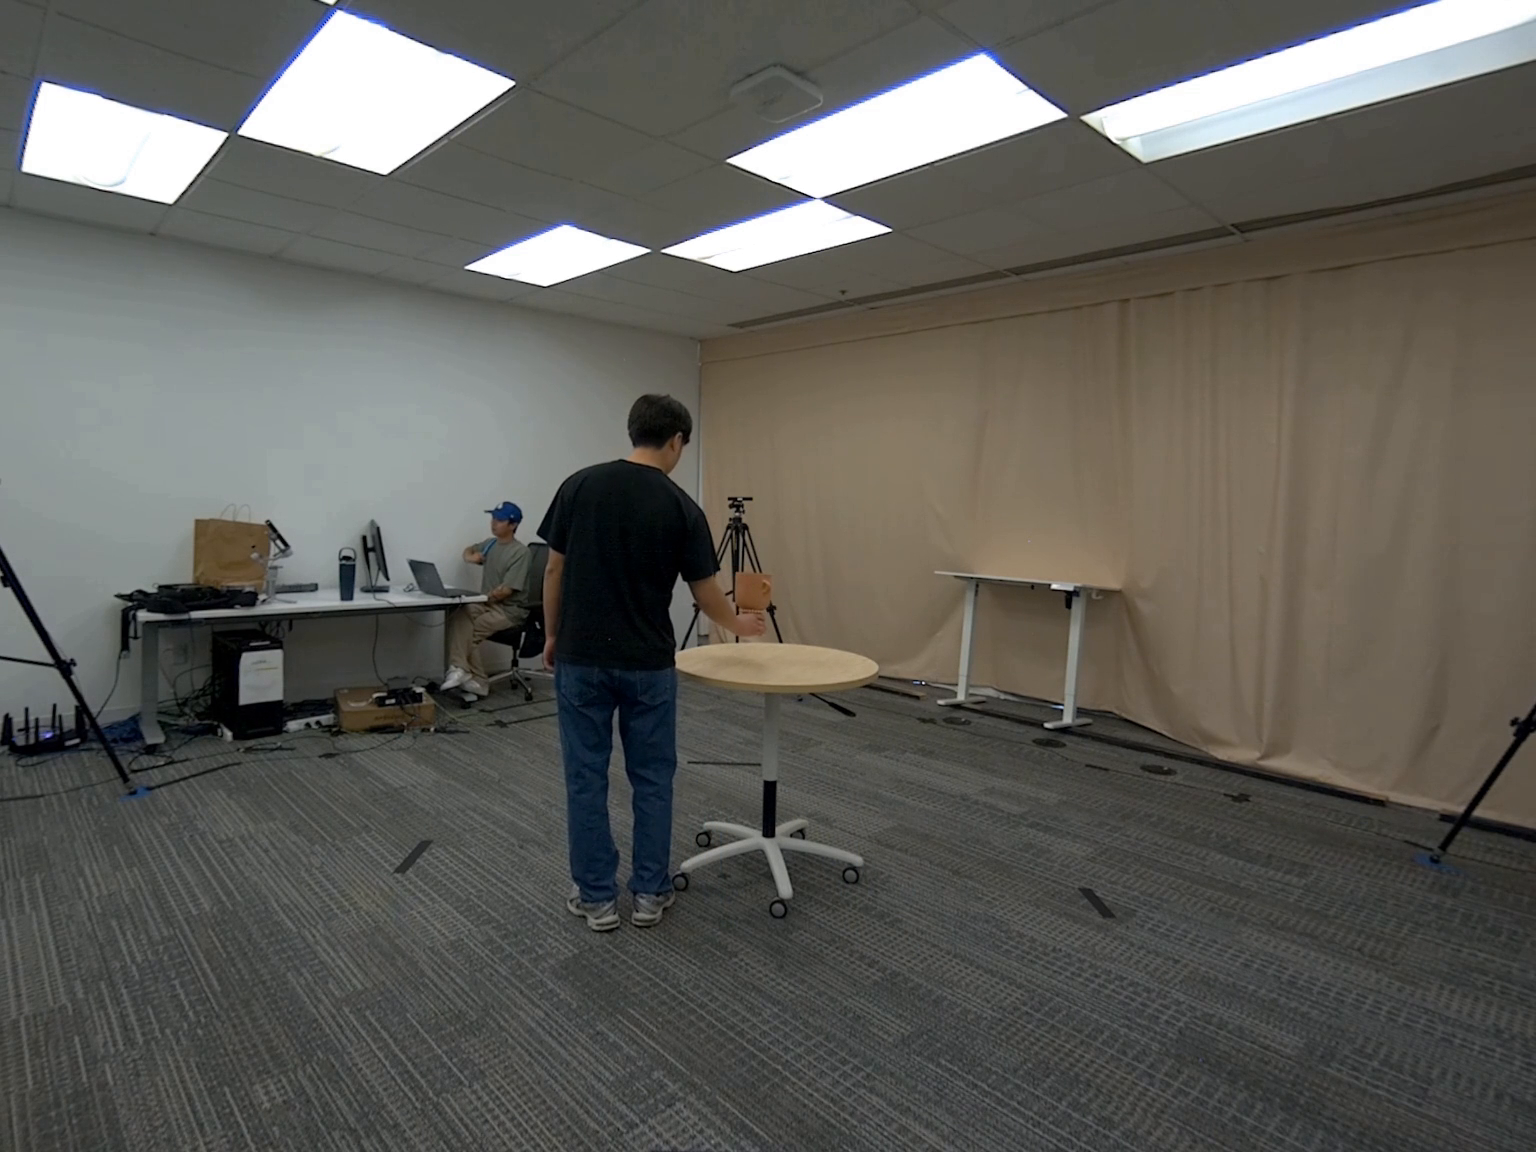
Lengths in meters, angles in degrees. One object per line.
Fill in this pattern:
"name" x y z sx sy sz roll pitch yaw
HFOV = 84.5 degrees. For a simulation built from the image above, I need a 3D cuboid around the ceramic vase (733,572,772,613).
"ceramic vase" -0.066 0.103 3.089 0.135 0.220 0.158 3 0 1
